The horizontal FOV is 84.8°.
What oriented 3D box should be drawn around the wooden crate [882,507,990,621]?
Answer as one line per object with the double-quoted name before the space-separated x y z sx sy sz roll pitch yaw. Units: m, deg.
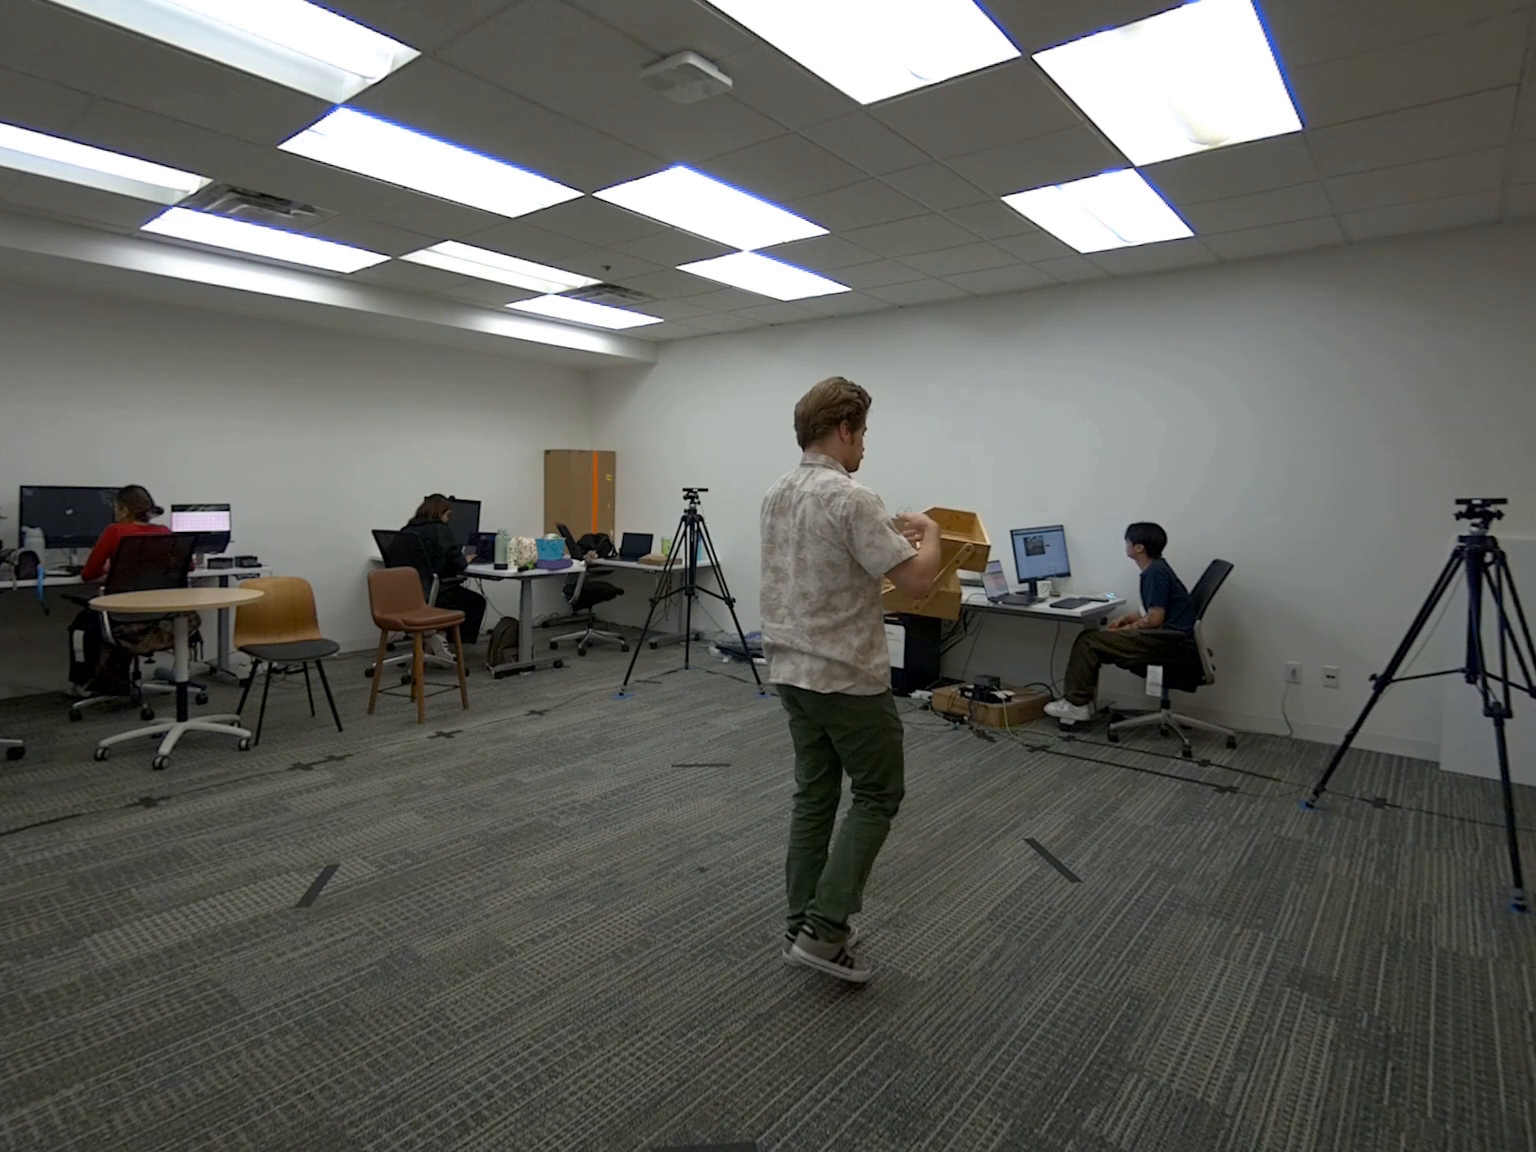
"wooden crate" 0.513 -0.060 2.727 0.304 0.268 0.328 8 23 4
